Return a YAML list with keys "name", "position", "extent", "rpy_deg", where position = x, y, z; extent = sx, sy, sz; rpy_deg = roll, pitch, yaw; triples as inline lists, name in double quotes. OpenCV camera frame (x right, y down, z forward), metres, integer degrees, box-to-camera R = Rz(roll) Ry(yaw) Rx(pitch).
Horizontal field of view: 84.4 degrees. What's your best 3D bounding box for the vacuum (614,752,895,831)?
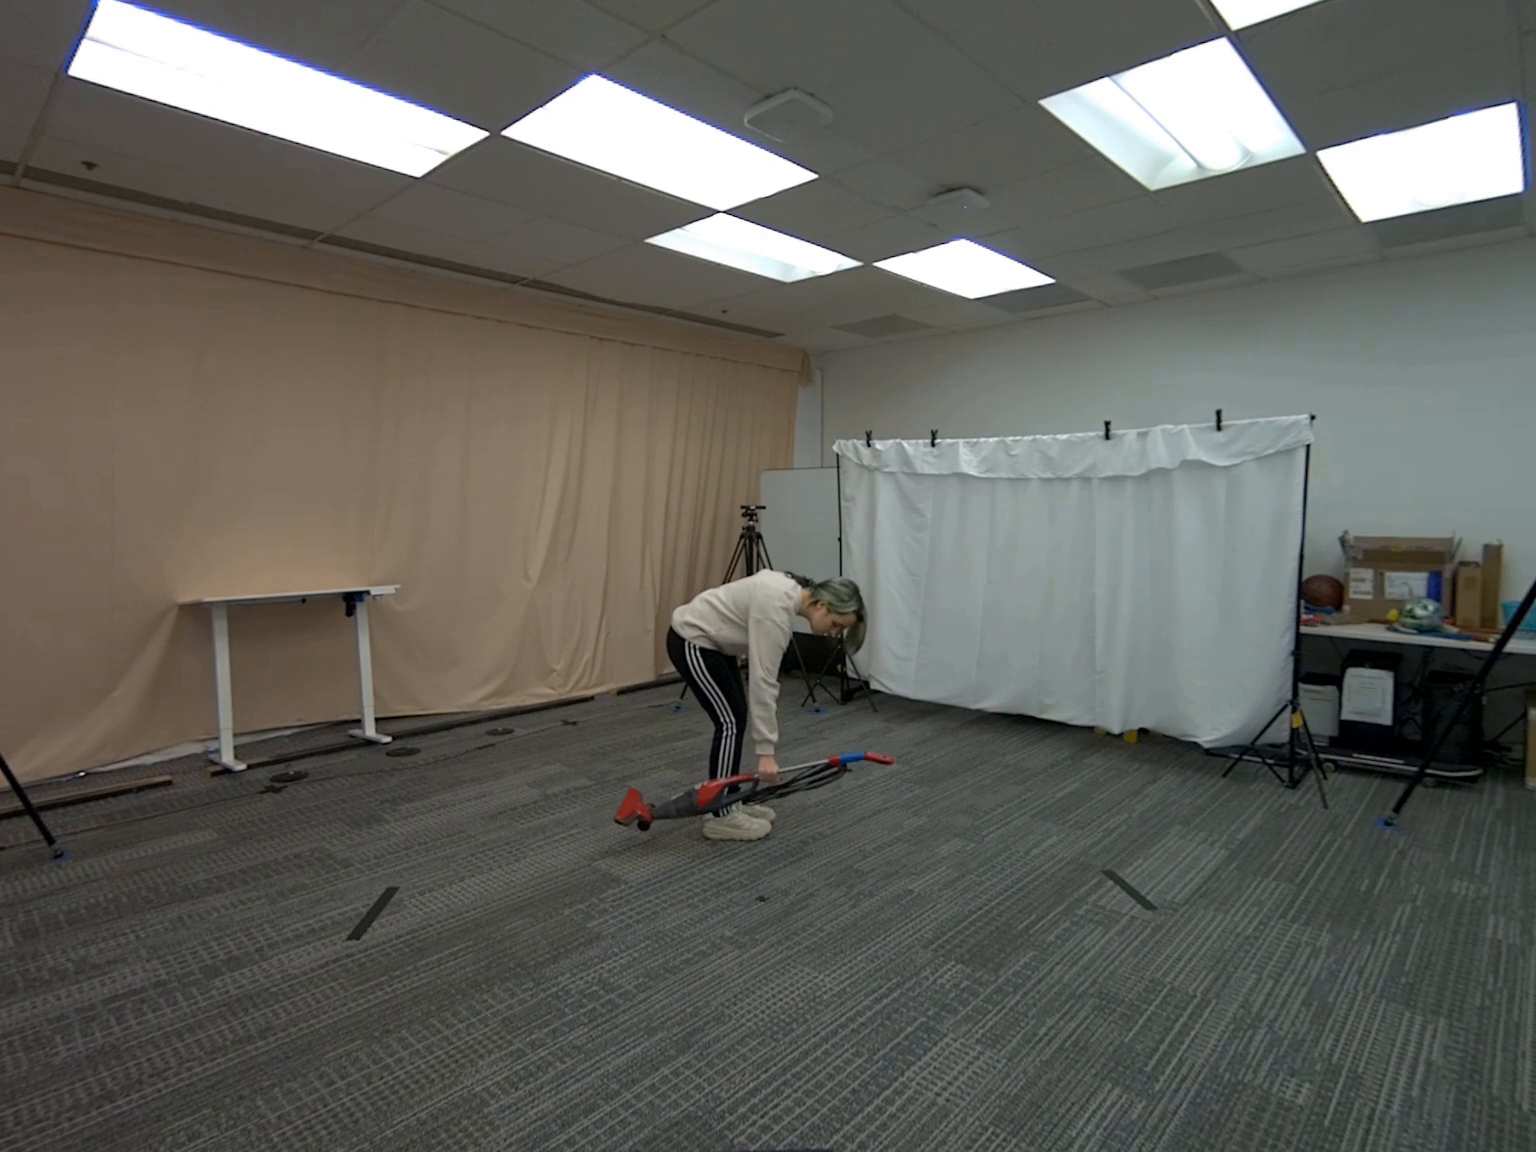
- name: "vacuum"
  position: [-0.033, 0.834, 3.315]
  extent: [1.060, 0.142, 0.253]
  rpy_deg: [-15, 15, 11]
